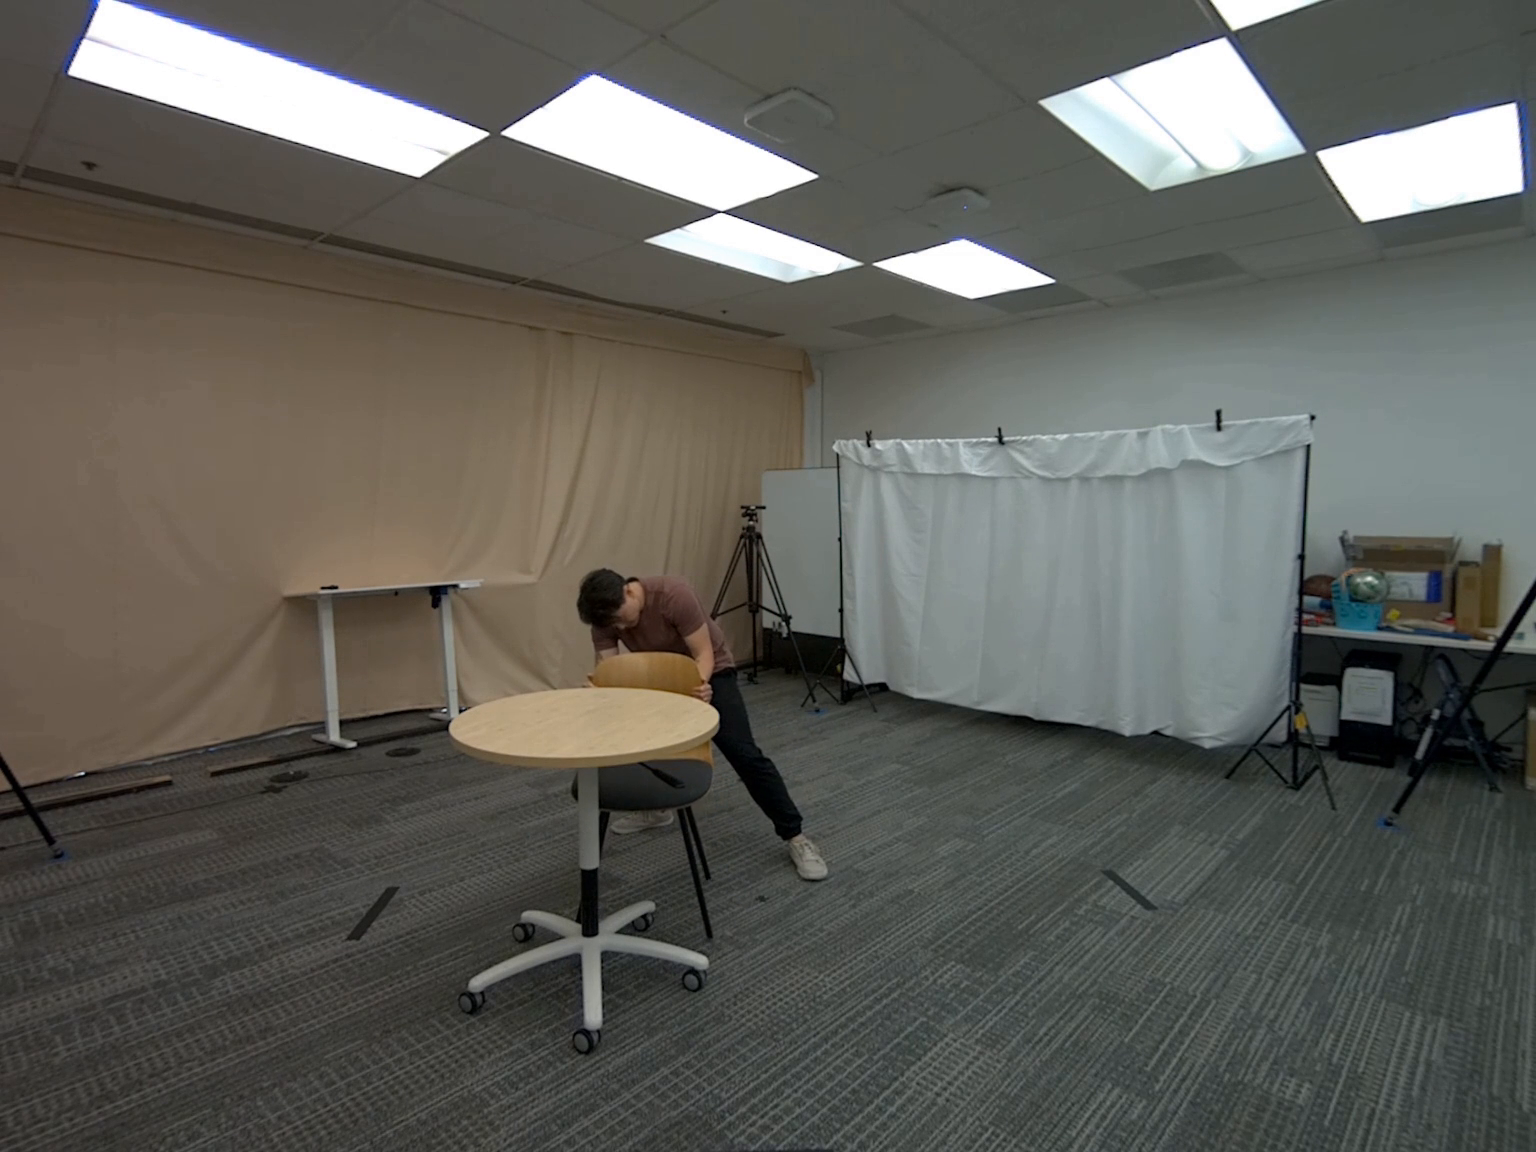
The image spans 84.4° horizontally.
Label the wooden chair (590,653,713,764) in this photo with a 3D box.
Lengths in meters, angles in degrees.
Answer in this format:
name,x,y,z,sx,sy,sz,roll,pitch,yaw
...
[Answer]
name,x,y,z,sx,sy,sz,roll,pitch,yaw
wooden chair,-0.410,0.723,2.890,0.477,0.878,0.524,0,-1,-3
